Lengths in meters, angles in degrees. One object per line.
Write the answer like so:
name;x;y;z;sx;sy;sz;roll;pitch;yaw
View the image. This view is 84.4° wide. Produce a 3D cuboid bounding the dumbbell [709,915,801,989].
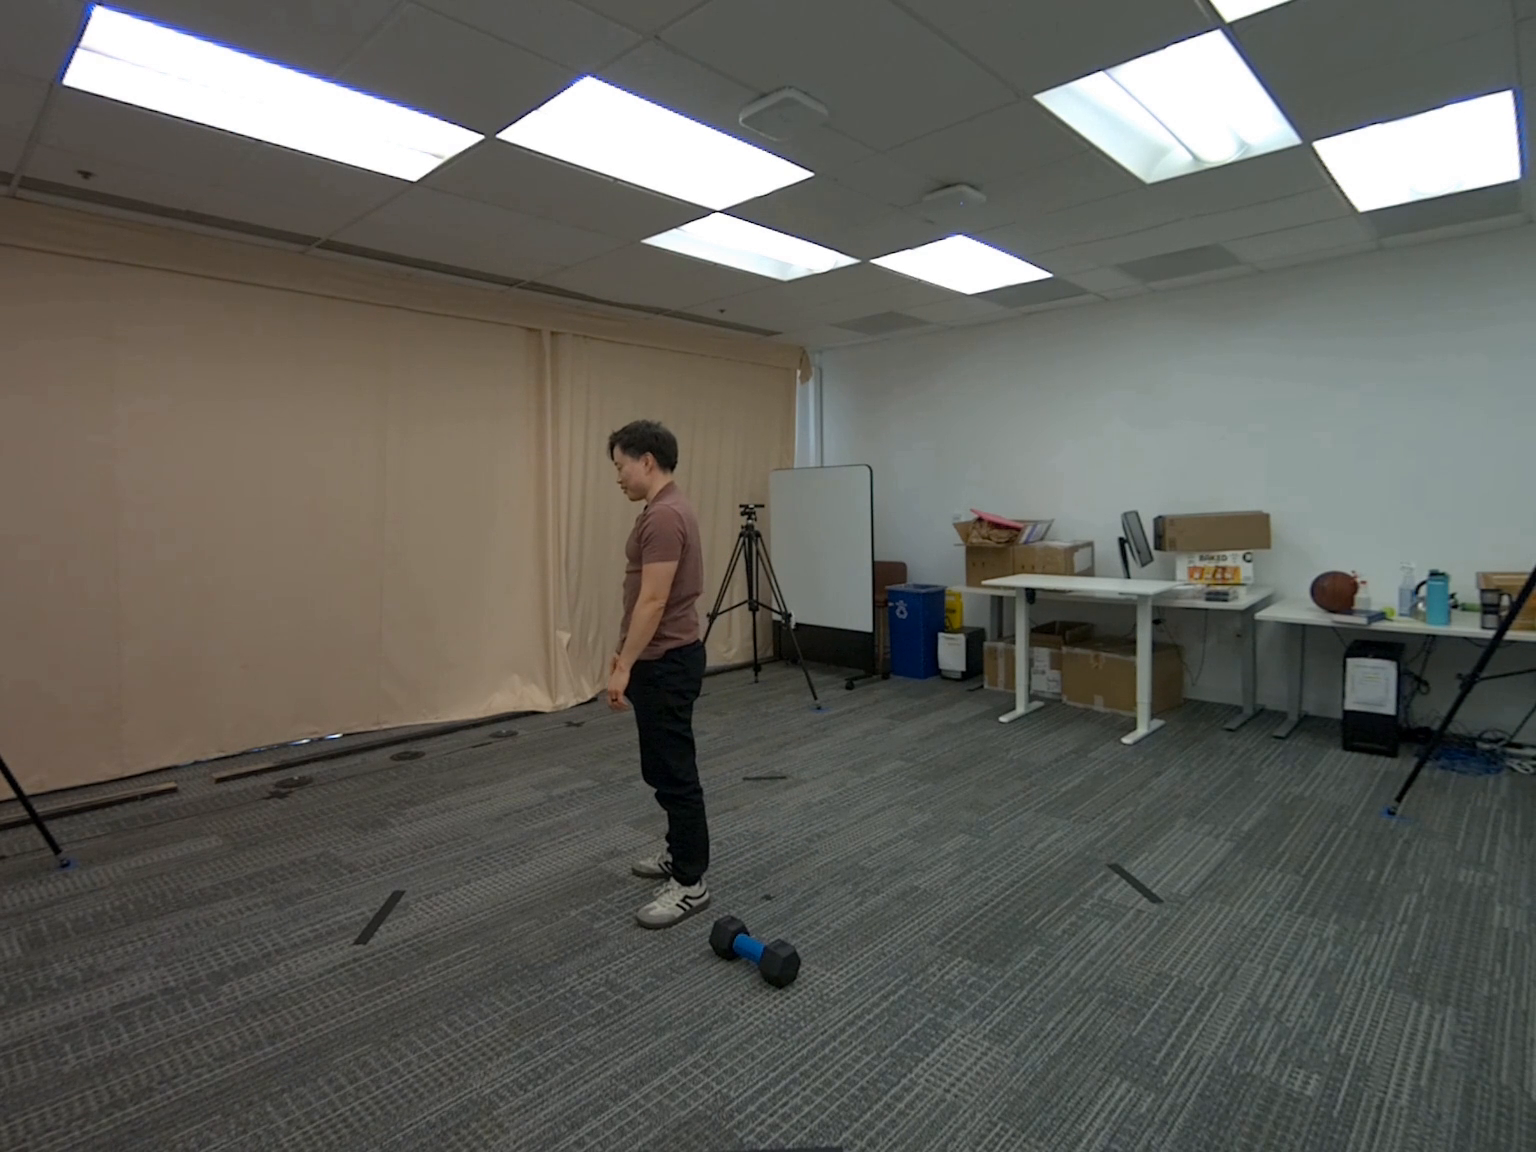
dumbbell;-0.040;1.125;2.527;0.303;0.120;0.107;4;36;44
